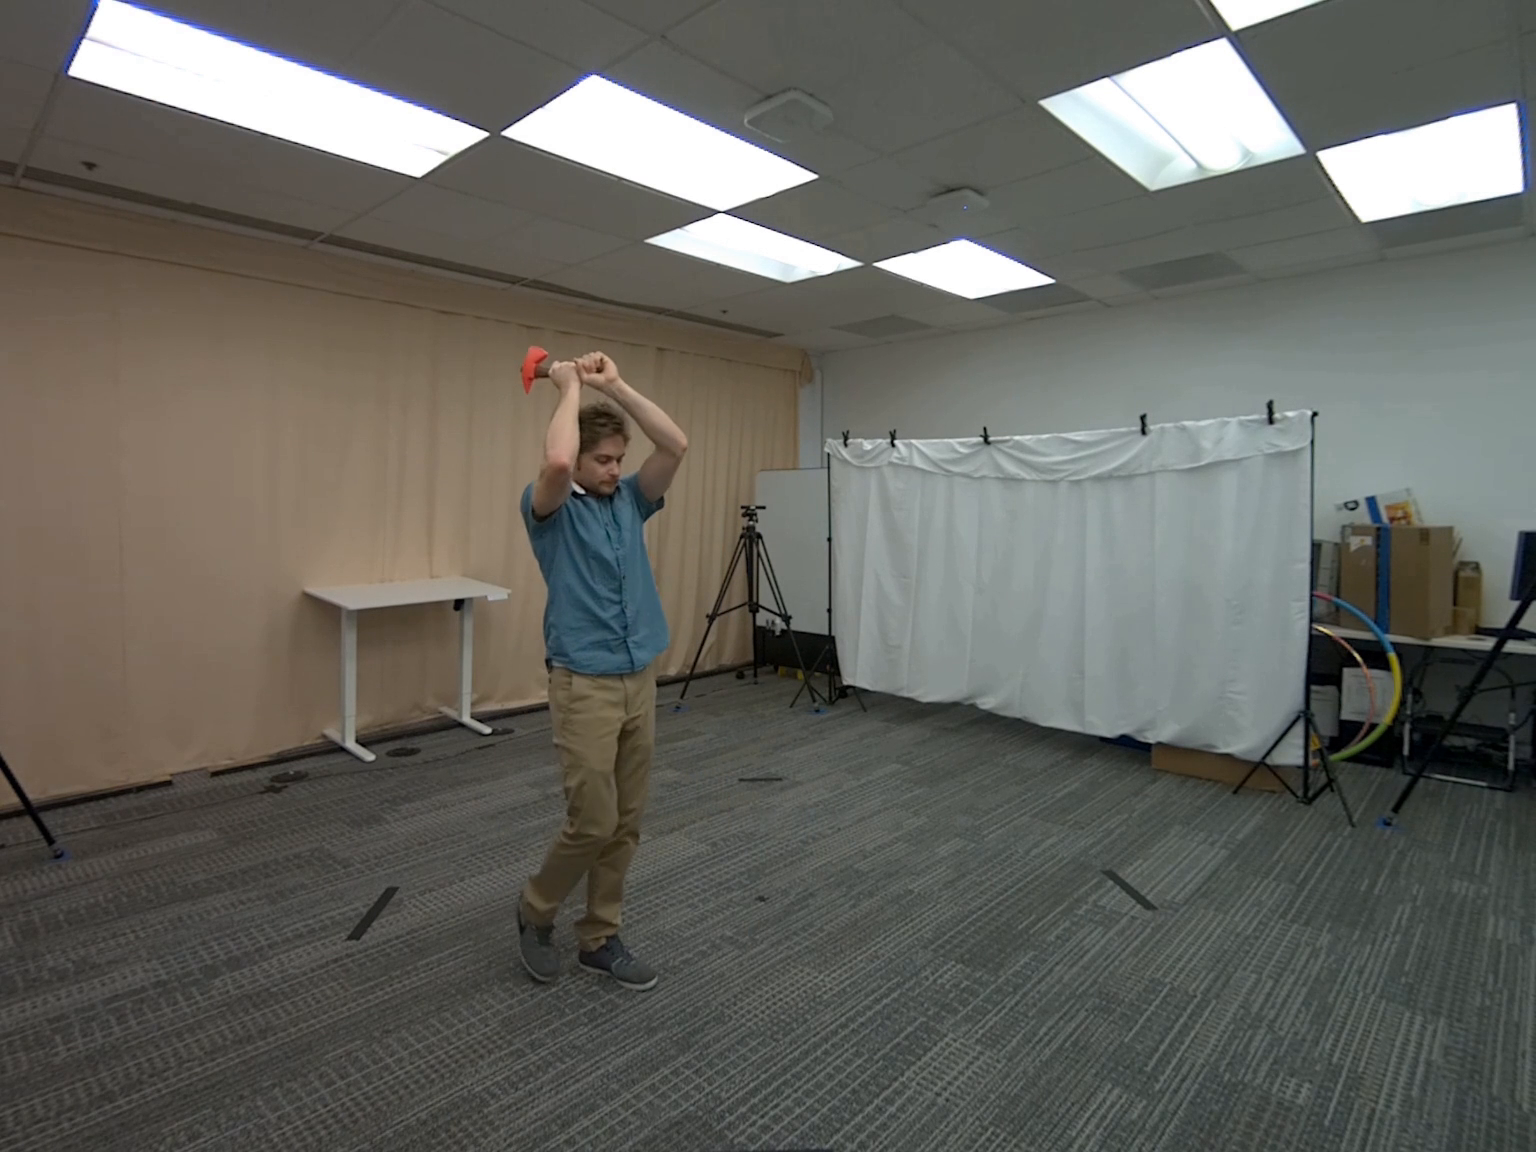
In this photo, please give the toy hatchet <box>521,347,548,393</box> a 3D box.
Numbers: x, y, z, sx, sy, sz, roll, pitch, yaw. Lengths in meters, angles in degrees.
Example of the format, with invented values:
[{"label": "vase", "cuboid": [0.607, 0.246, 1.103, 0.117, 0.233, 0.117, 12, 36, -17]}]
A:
[{"label": "toy hatchet", "cuboid": [-0.592, -0.615, 2.378, 0.276, 0.131, 0.029, -10, -6, 24]}]
